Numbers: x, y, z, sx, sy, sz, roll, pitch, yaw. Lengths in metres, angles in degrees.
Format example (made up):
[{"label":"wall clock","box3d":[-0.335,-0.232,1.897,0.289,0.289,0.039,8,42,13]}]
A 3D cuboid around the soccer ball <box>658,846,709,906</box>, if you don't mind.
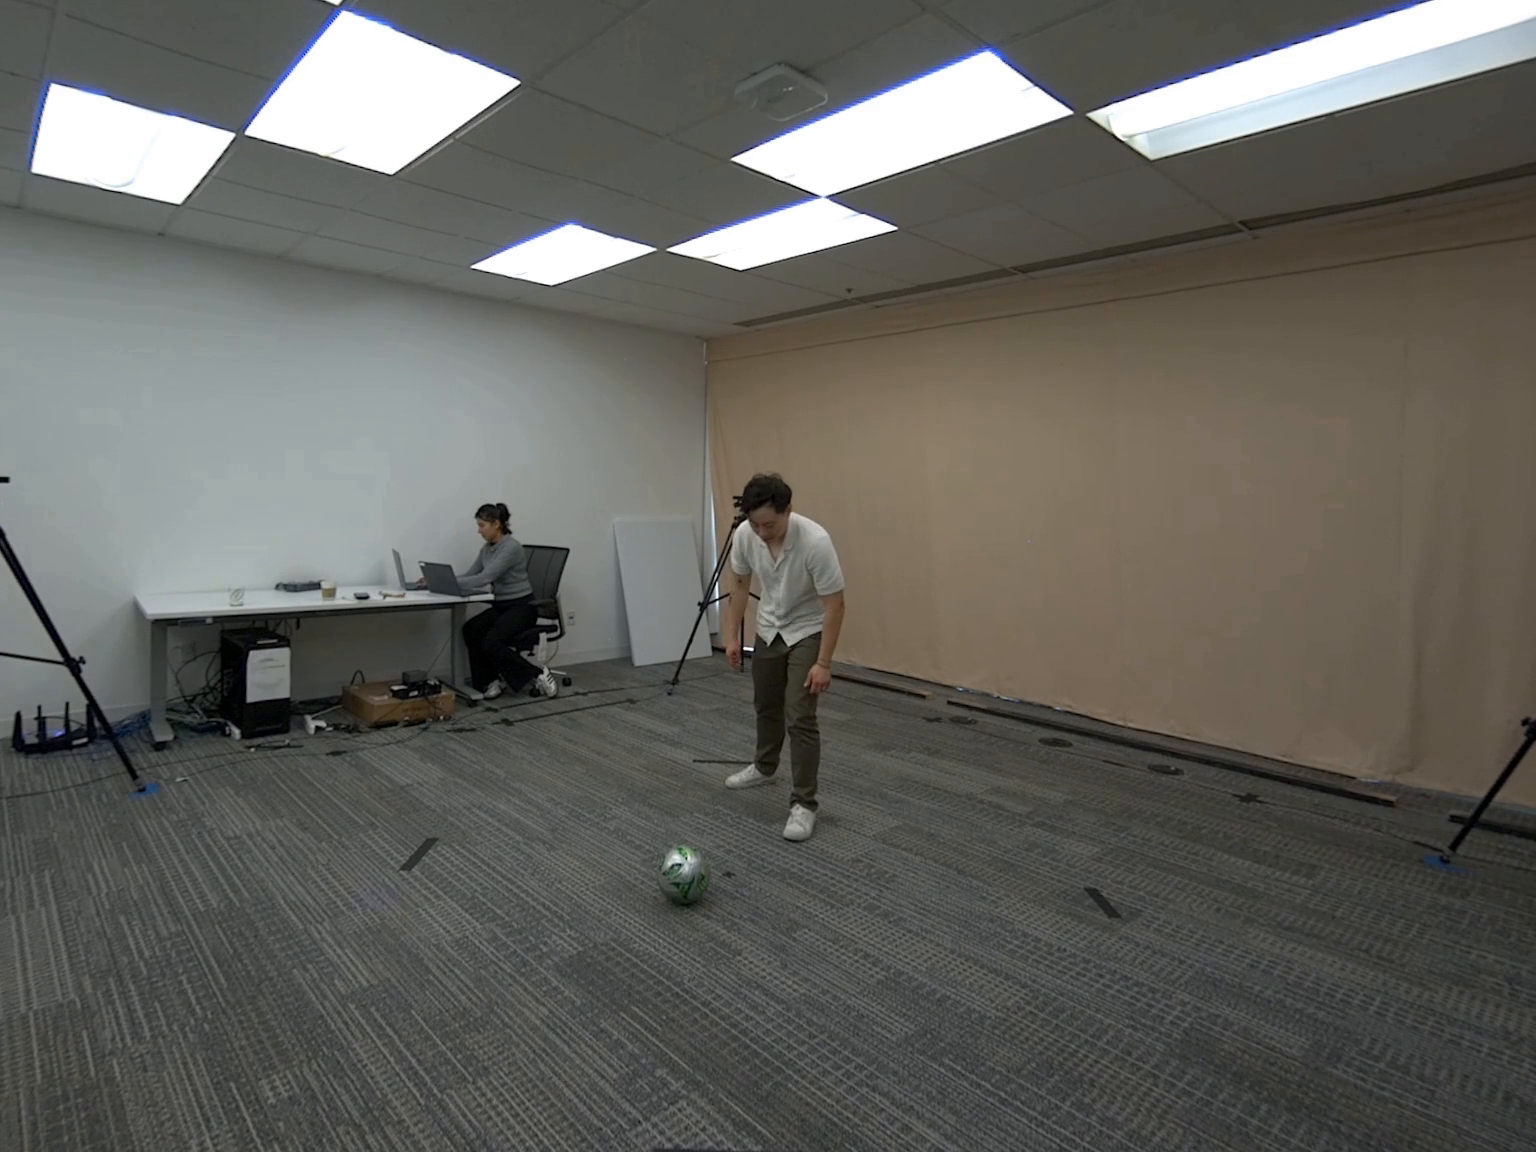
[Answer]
[{"label":"soccer ball","box3d":[-0.297,1.020,2.886,0.187,0.187,0.188,1,4,-1]}]
